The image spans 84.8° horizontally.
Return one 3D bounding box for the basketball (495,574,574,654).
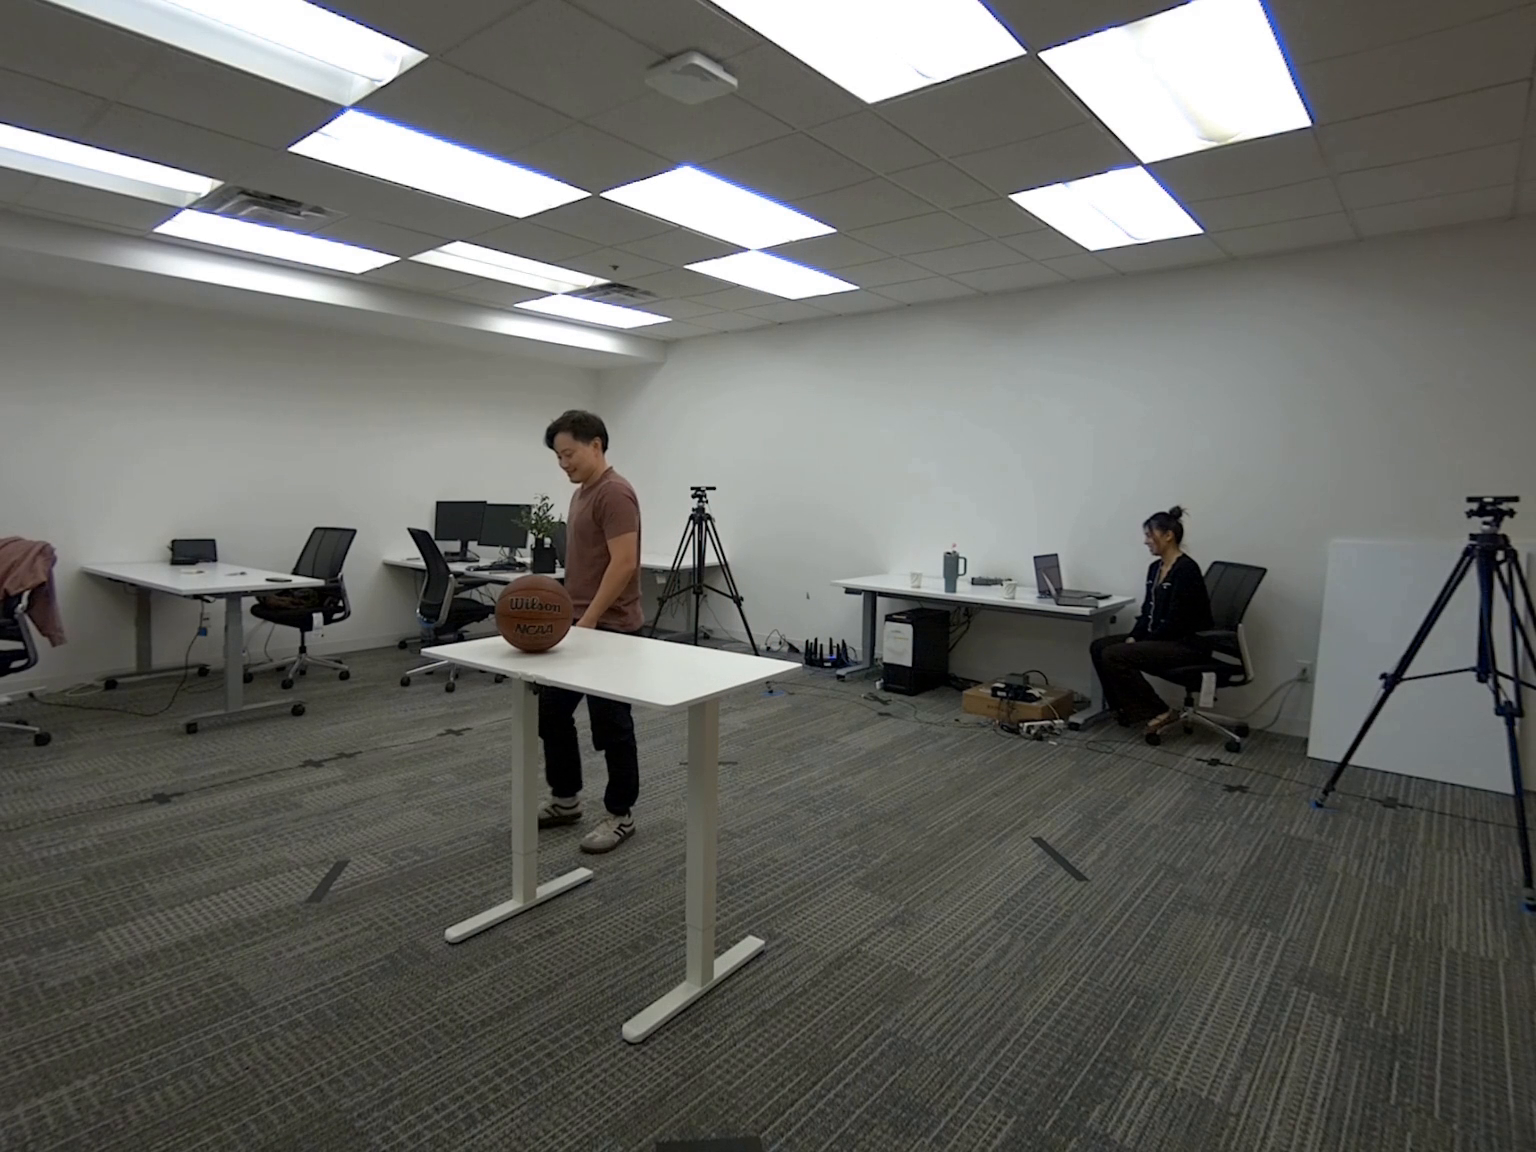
[{"bbox_3d":[-0.726,0.109,2.597,0.235,0.235,0.237,1,4,-2],"label":"basketball"}]
